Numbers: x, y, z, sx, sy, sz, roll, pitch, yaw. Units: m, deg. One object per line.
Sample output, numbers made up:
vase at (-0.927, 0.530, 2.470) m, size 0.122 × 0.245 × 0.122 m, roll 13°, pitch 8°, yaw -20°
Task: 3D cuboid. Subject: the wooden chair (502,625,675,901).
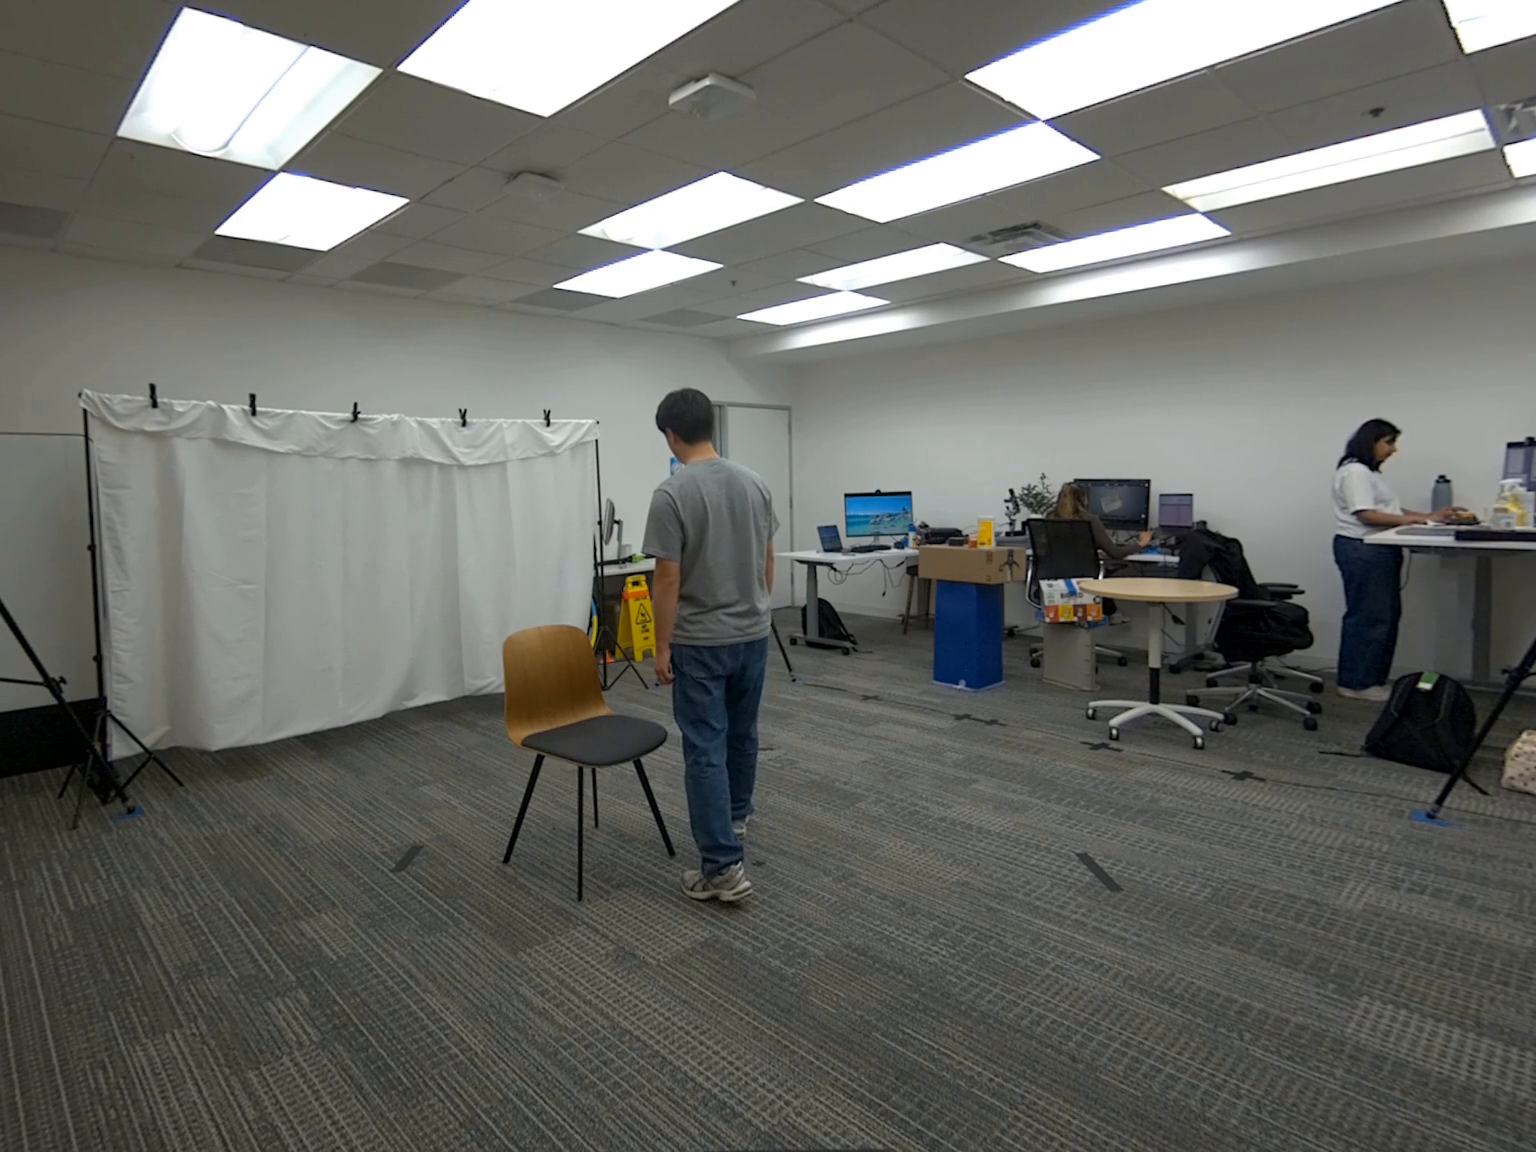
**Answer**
wooden chair at (-0.663, 0.628, 3.129) m, size 0.537 × 0.877 × 0.465 m, roll -3°, pitch 1°, yaw 41°
